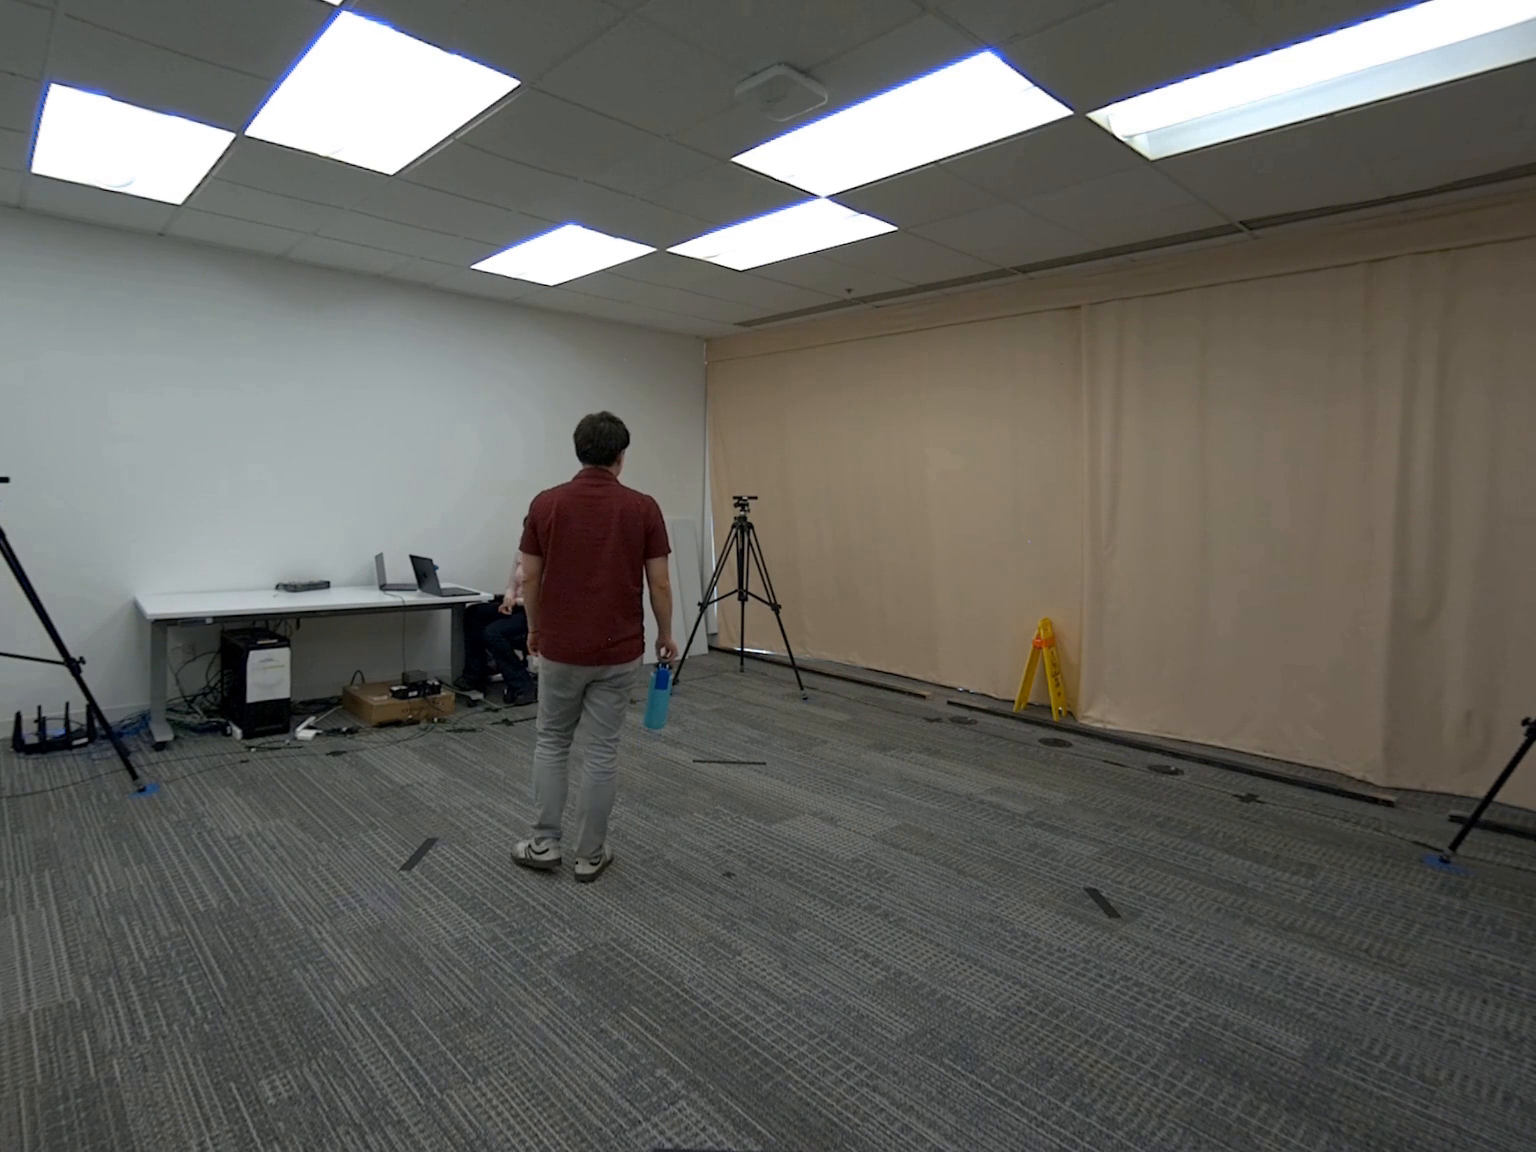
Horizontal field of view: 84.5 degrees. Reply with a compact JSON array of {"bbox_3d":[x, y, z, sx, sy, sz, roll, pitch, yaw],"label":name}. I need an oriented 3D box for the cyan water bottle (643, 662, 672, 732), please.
[{"bbox_3d":[-0.436,0.459,3.276,0.092,0.281,0.093,10,15,-4],"label":"cyan water bottle"}]
